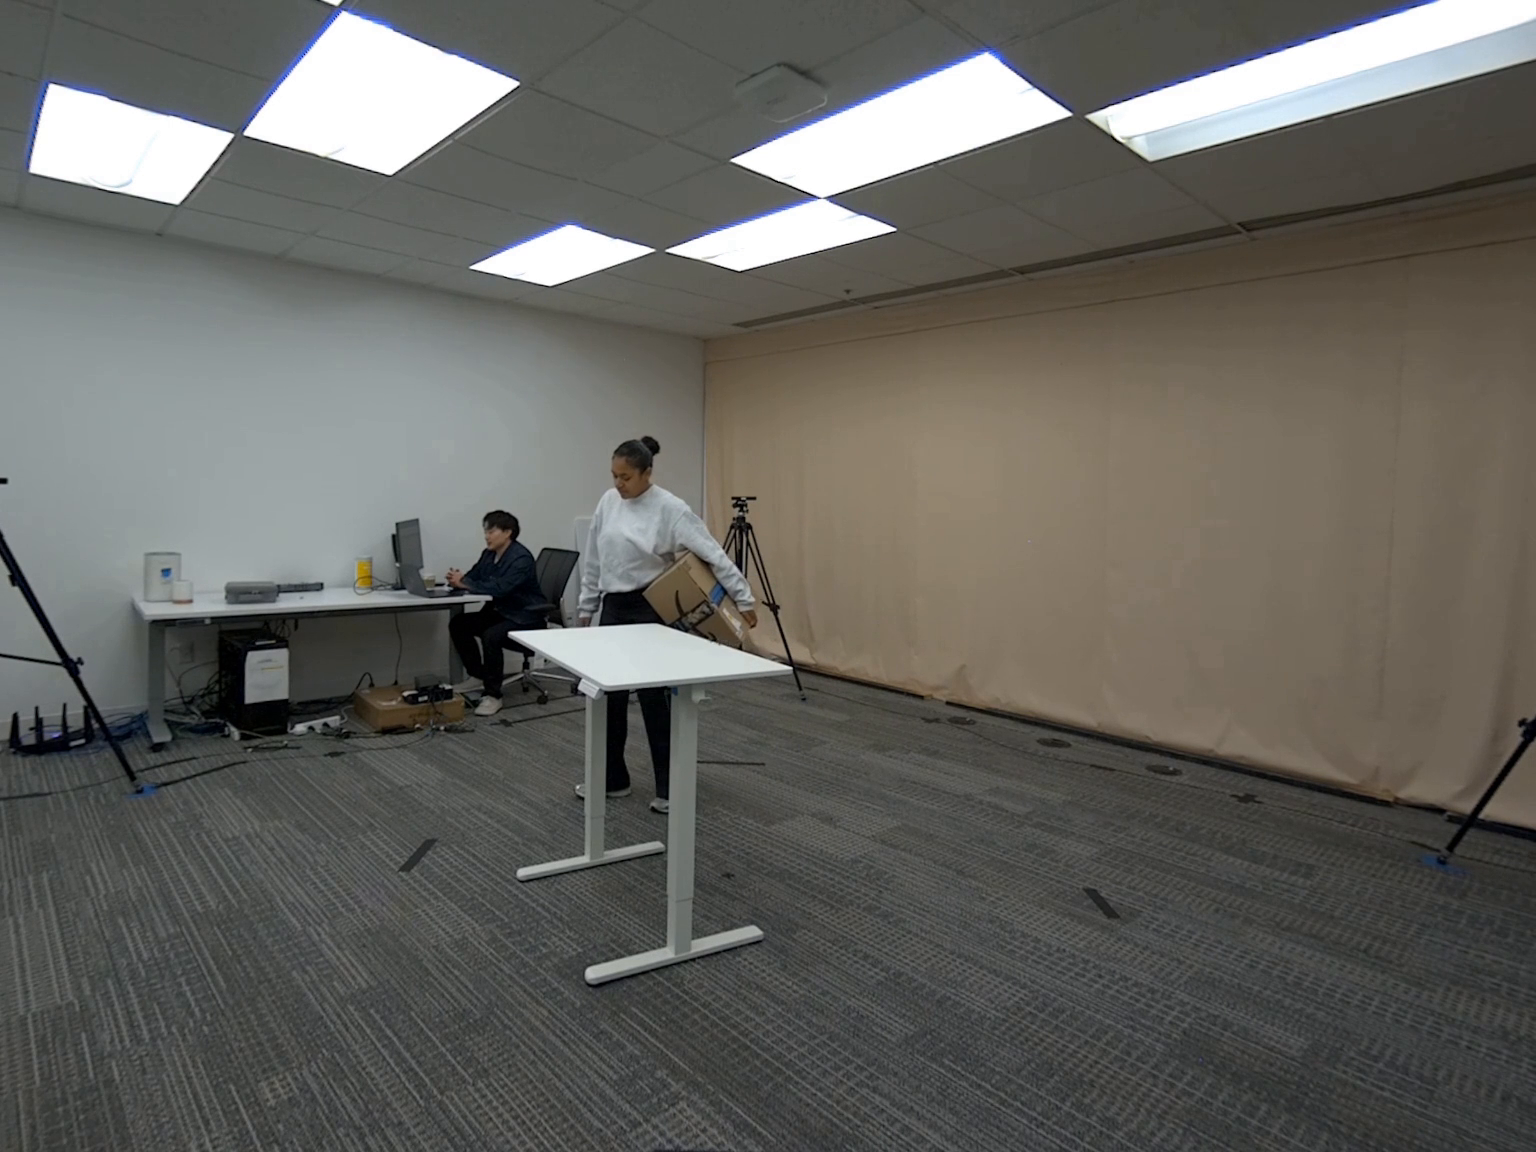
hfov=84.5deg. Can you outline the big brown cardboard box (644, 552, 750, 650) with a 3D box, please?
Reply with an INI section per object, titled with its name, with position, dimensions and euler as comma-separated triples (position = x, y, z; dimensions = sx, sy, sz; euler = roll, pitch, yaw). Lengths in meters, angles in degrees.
[big brown cardboard box]
position = -0.276, 0.098, 3.726
dimensions = 0.234, 0.415, 0.590
euler = -37, 6, 15
